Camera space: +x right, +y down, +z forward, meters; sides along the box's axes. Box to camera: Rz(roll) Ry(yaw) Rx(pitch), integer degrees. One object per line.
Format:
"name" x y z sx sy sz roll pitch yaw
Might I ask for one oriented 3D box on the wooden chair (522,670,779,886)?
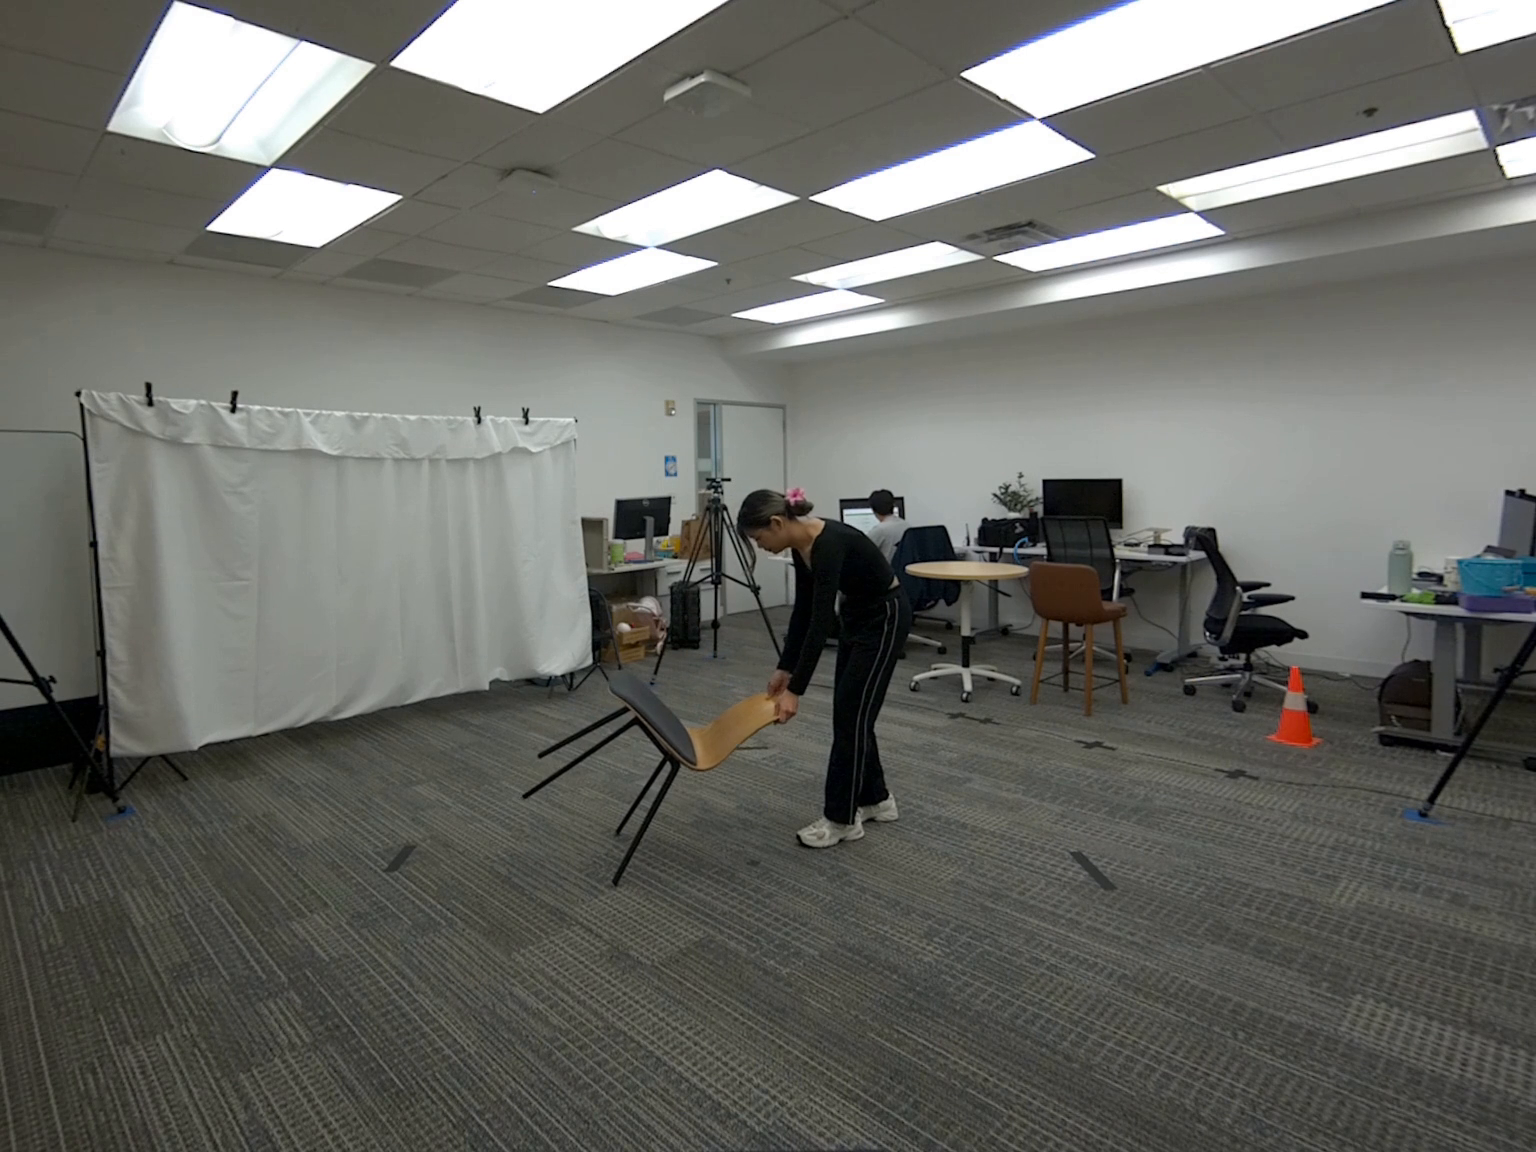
"wooden chair" -0.400 0.571 3.143 0.877 0.519 0.482 -39 7 -2
